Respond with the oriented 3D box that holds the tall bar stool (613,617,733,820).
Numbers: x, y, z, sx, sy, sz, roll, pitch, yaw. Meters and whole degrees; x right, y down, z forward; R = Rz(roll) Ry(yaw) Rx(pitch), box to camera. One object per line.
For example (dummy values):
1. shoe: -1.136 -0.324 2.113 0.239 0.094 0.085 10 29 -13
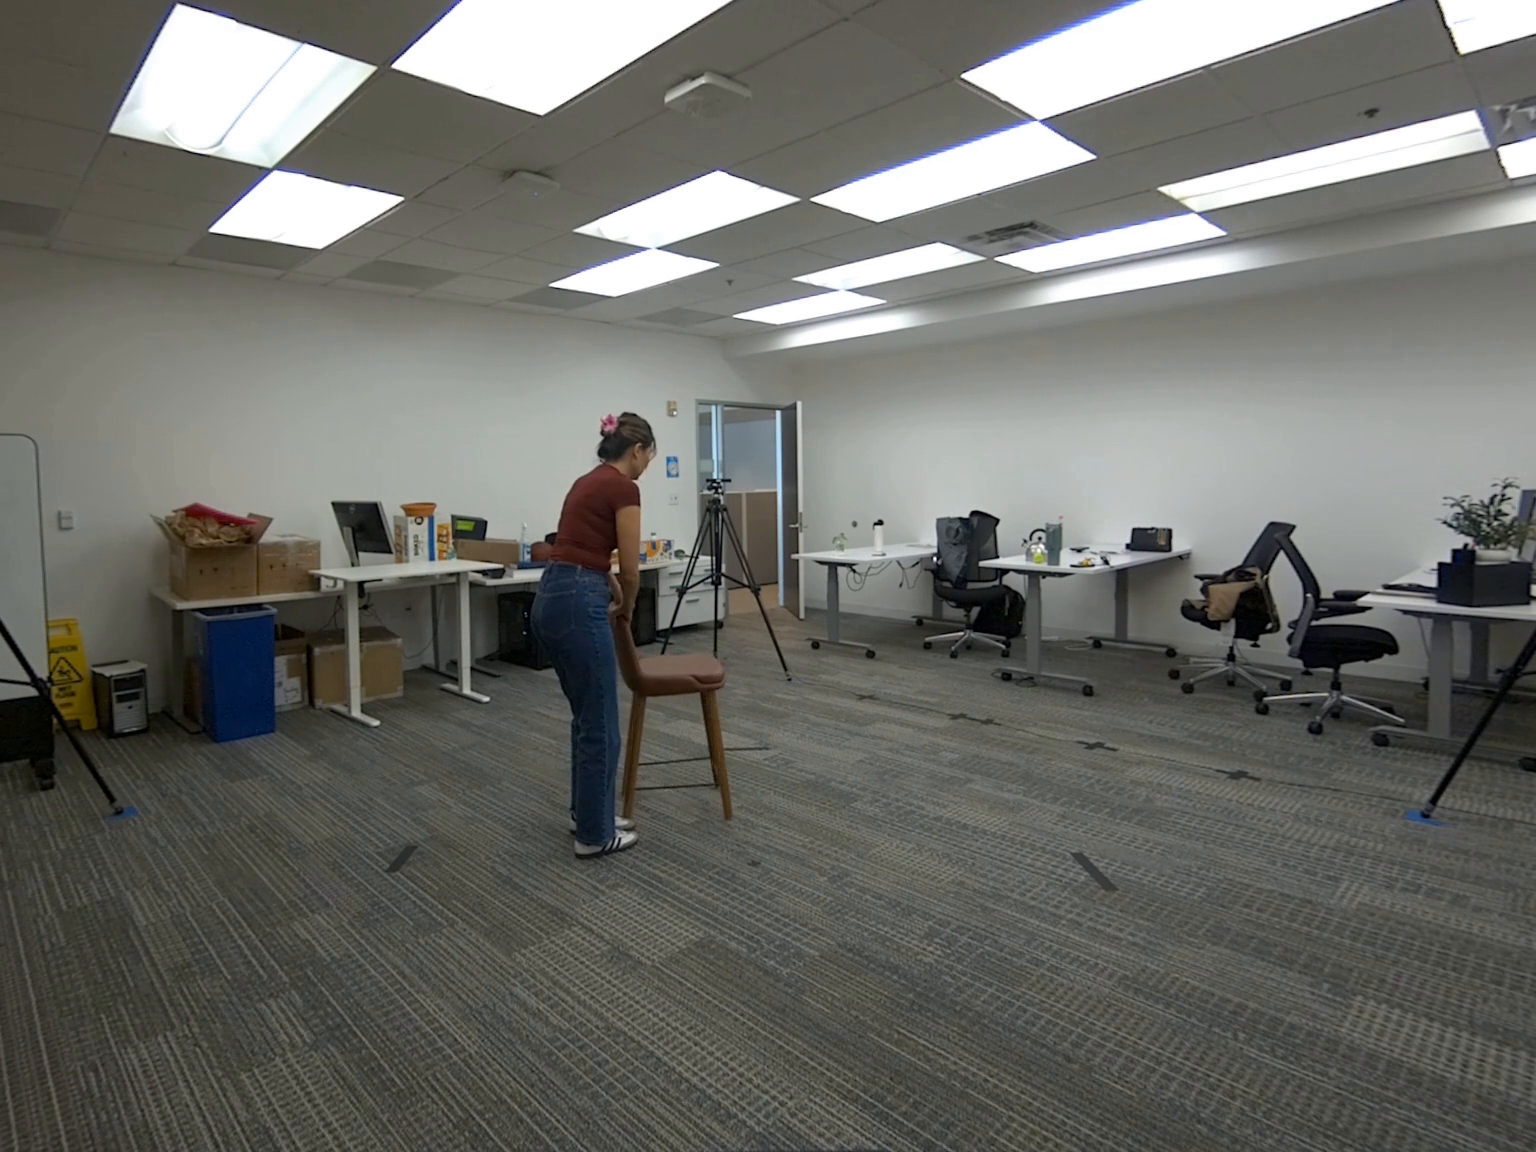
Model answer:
1. tall bar stool: -0.418 0.556 3.656 0.465 0.887 0.461 -4 3 -8
